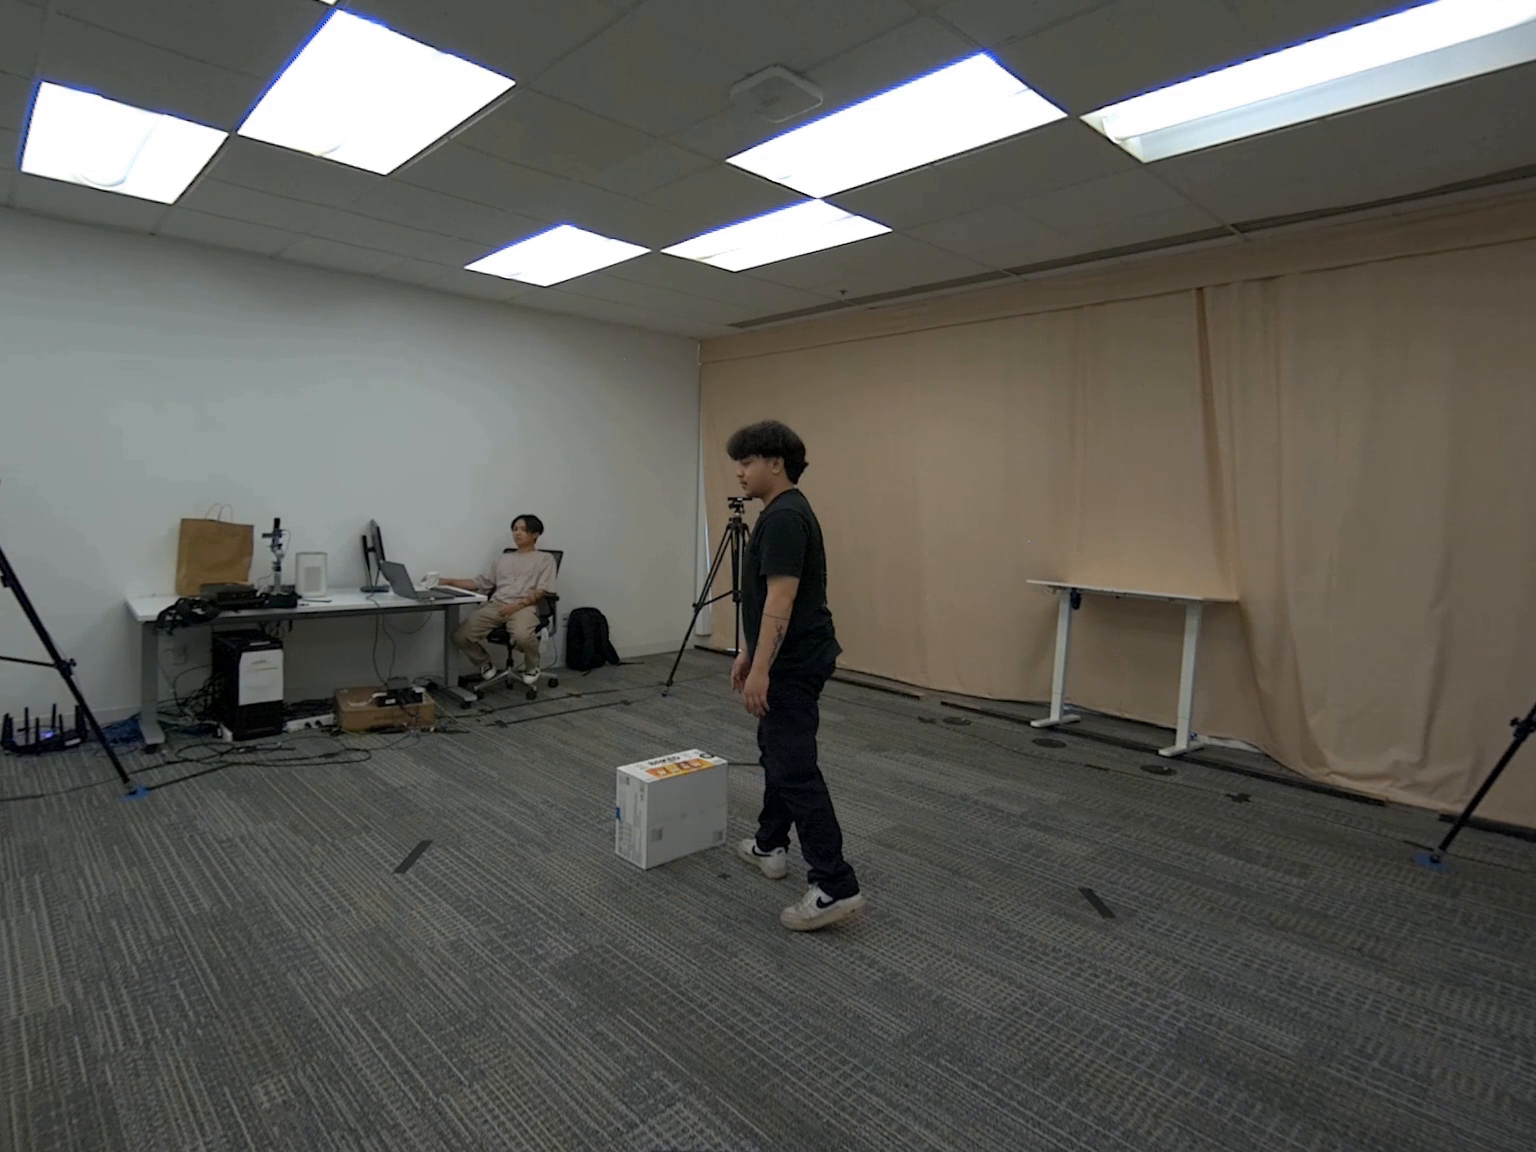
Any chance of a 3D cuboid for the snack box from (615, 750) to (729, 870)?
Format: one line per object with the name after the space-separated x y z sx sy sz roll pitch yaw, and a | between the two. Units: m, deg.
-0.384 0.912 3.328 0.396 0.339 0.211 -3 6 -44 | snack box
